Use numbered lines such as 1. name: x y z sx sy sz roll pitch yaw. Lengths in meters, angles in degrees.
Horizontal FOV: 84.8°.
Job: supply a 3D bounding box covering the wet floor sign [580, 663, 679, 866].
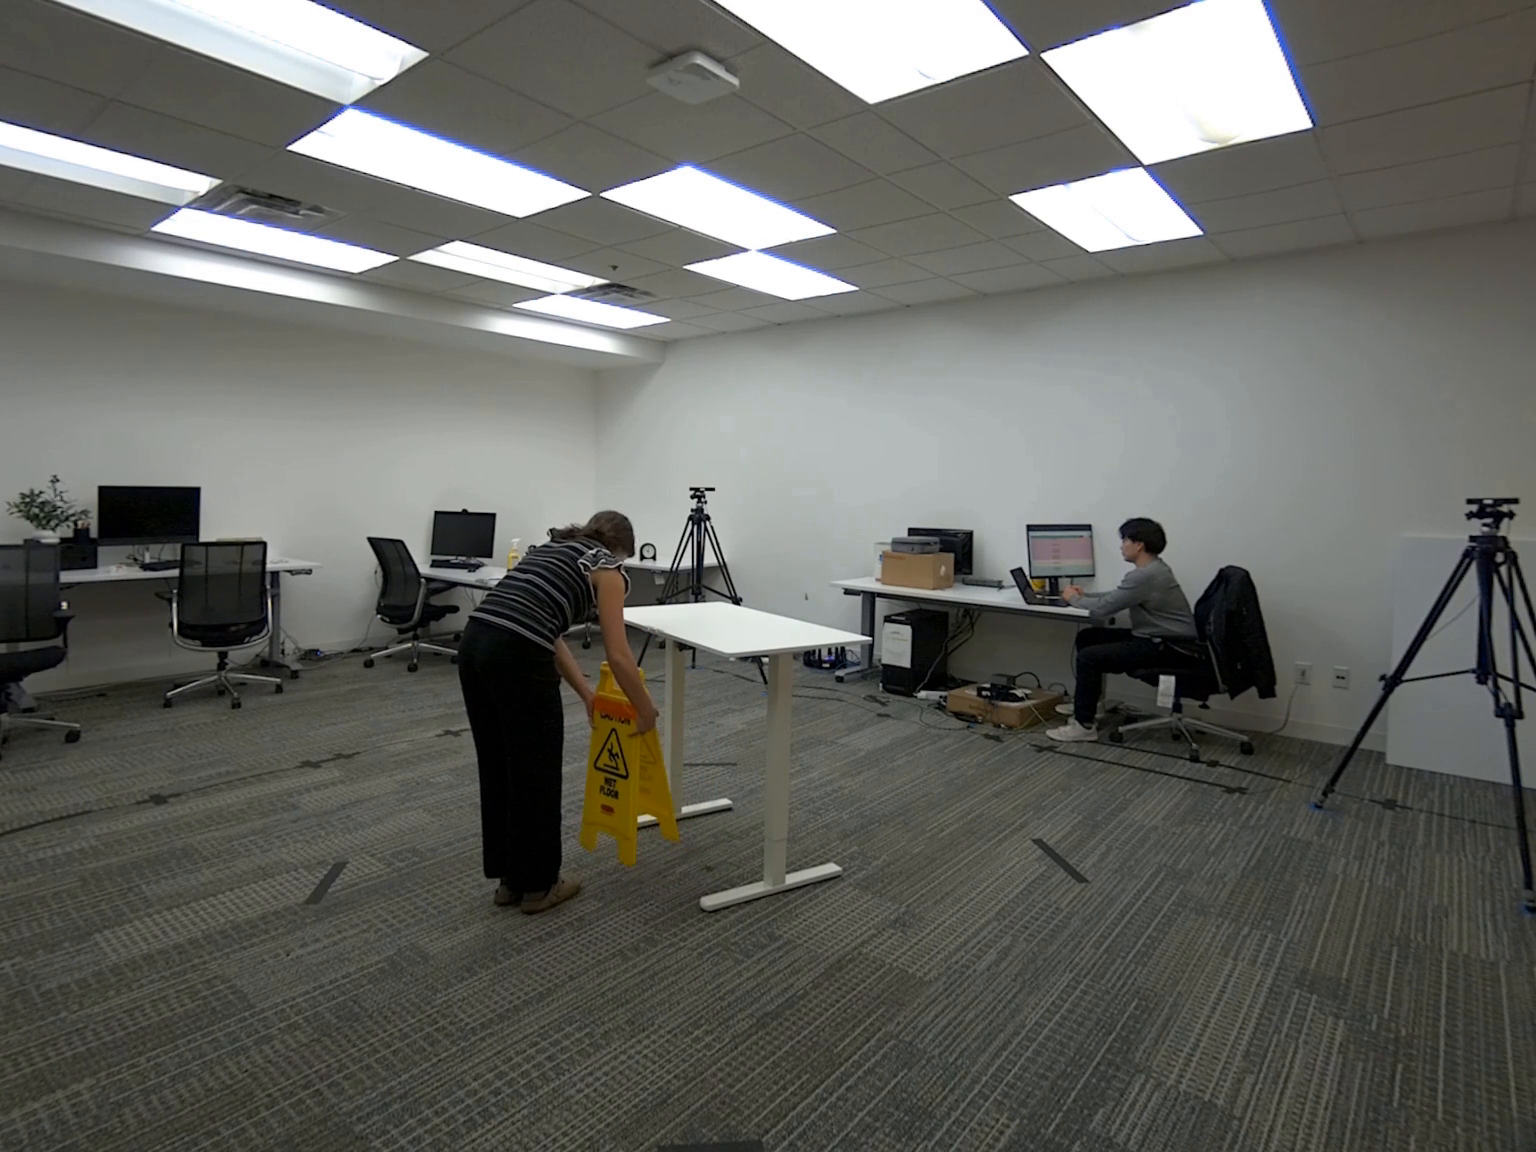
1. wet floor sign: -0.521 0.632 3.010 0.291 0.643 0.282 3 6 38
